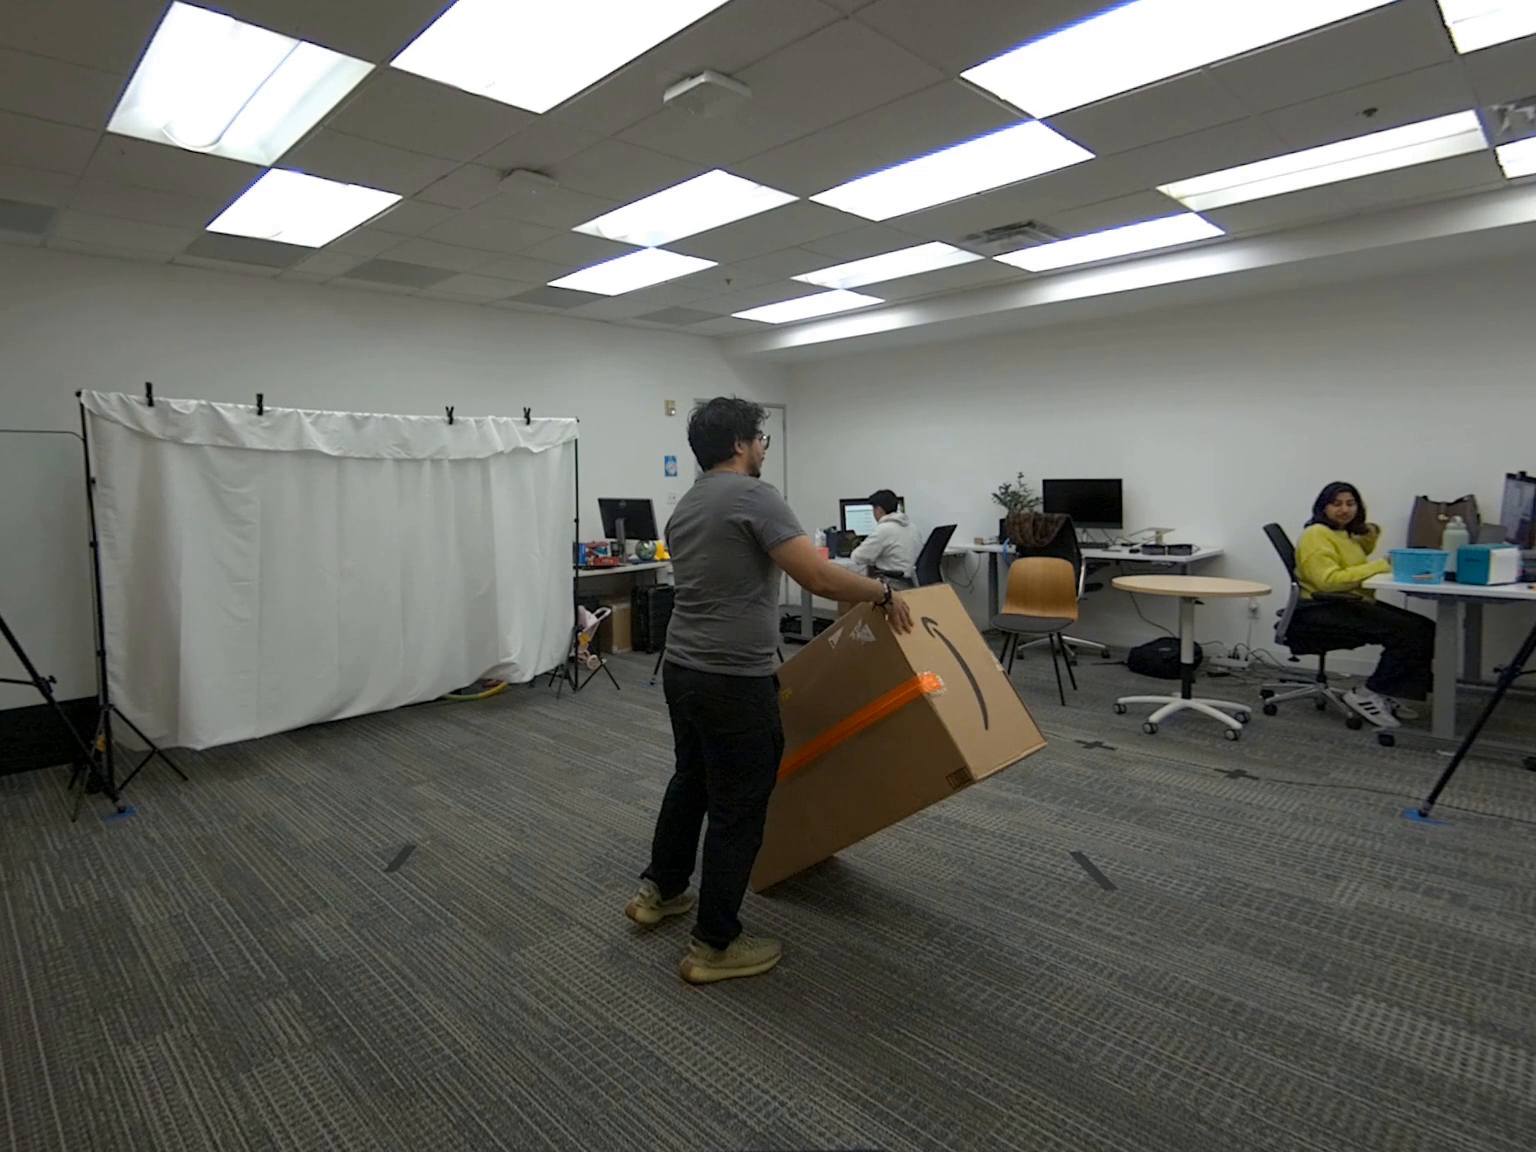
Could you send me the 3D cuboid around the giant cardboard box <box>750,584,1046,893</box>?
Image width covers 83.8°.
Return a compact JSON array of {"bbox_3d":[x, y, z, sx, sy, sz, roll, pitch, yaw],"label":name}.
[{"bbox_3d":[0.269,0.549,2.817,0.415,0.592,1.028,-6,-28,-45],"label":"giant cardboard box"}]
